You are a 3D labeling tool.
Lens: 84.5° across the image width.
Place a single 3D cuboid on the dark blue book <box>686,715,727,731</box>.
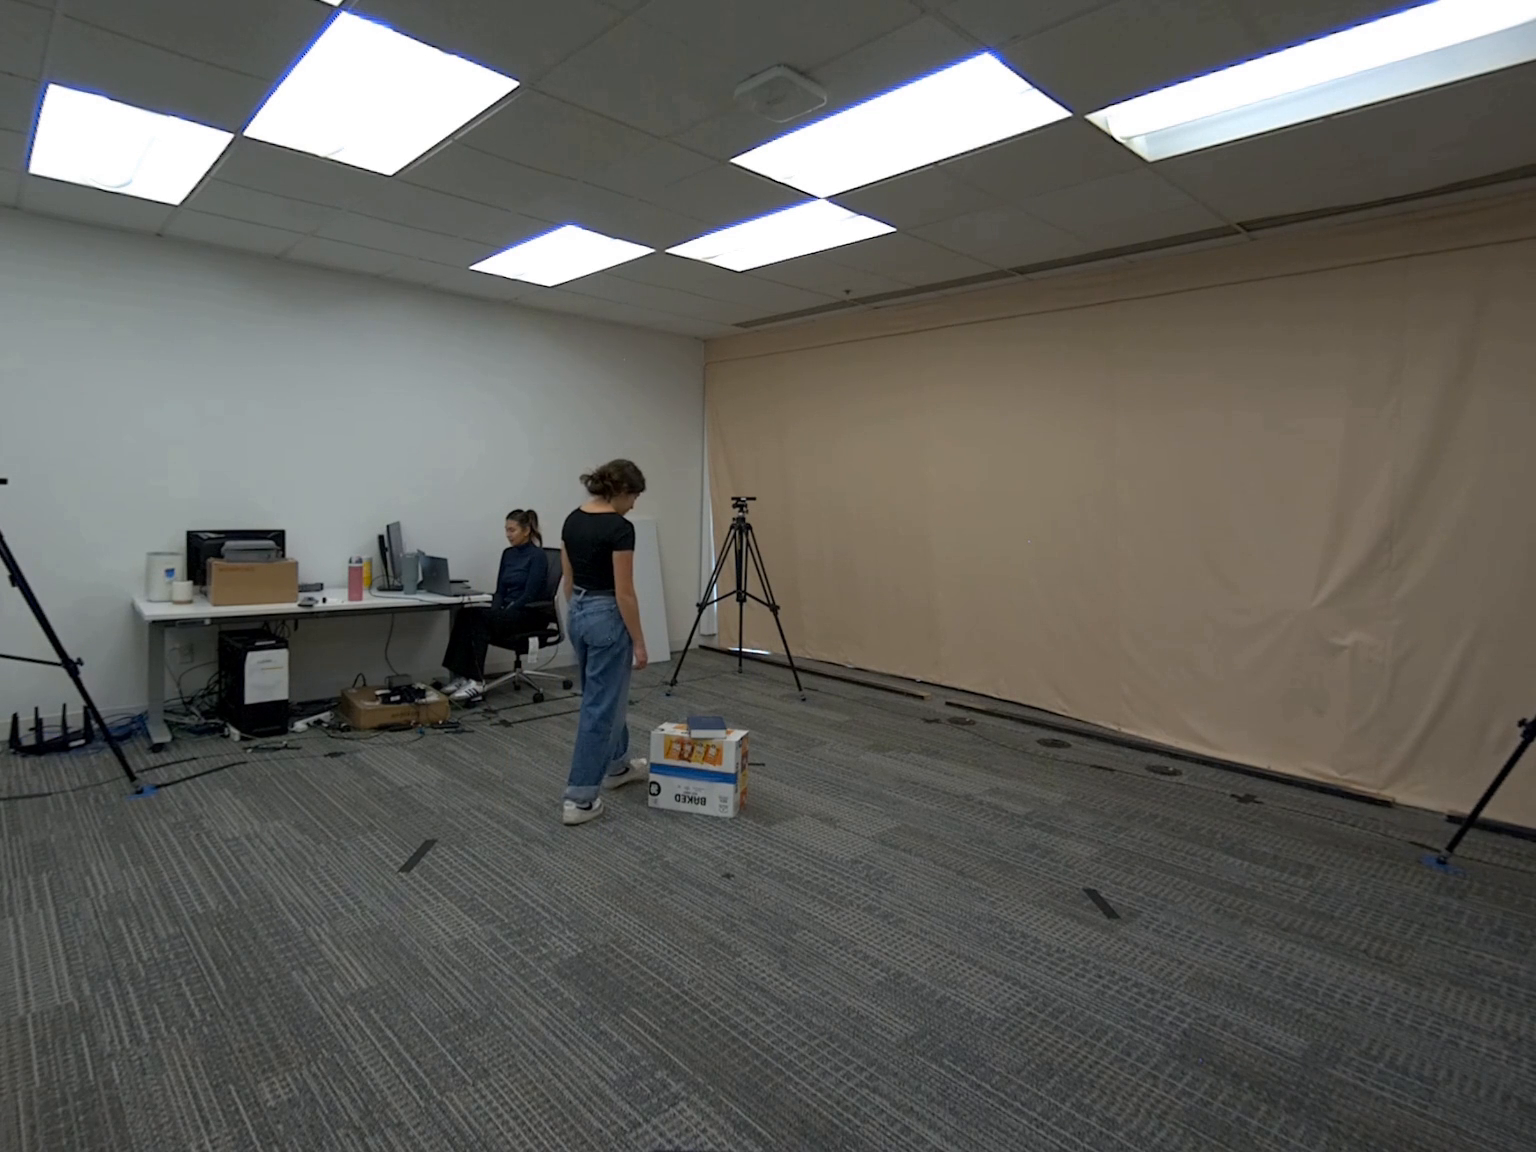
[{"bbox_3d":[-0.285,0.677,3.816,0.162,0.045,0.247,2,5,-8],"label":"dark blue book"}]
